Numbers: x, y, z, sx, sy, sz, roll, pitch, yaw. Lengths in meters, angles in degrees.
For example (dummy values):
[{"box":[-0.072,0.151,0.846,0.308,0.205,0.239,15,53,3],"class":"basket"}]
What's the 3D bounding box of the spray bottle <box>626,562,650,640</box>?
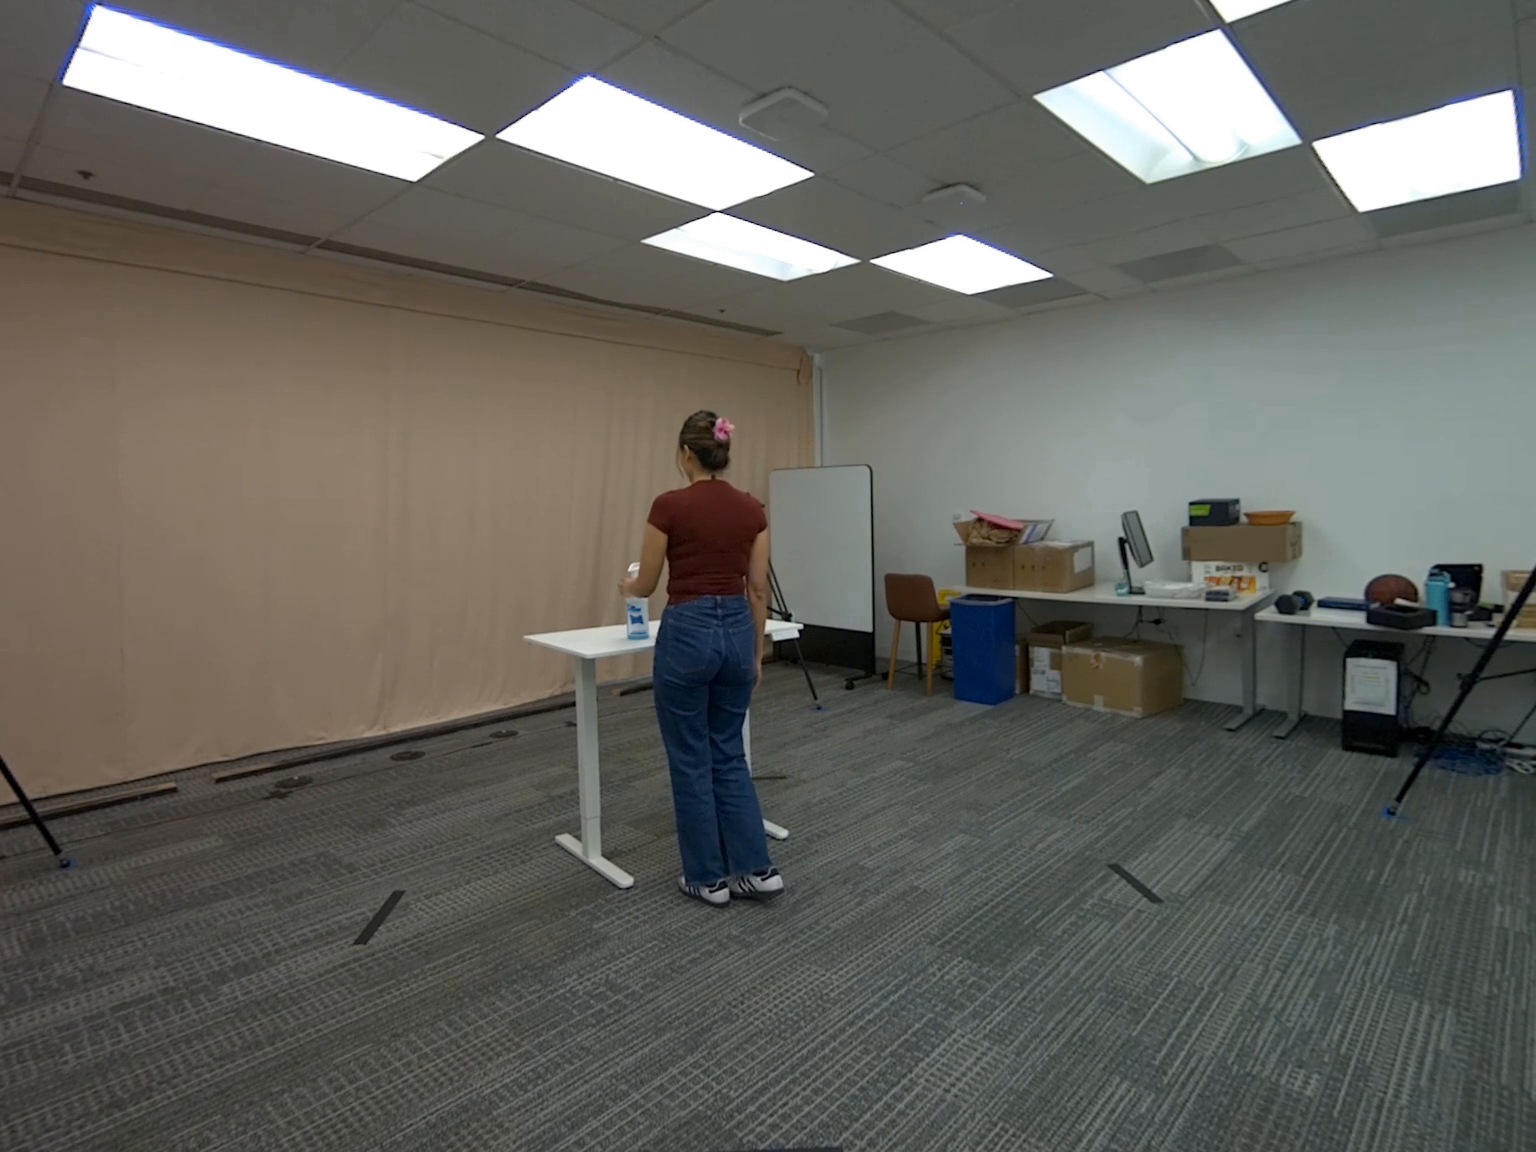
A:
[{"box":[-0.509,0.100,3.295,0.088,0.297,0.089,-1,1,-27],"class":"spray bottle"}]
